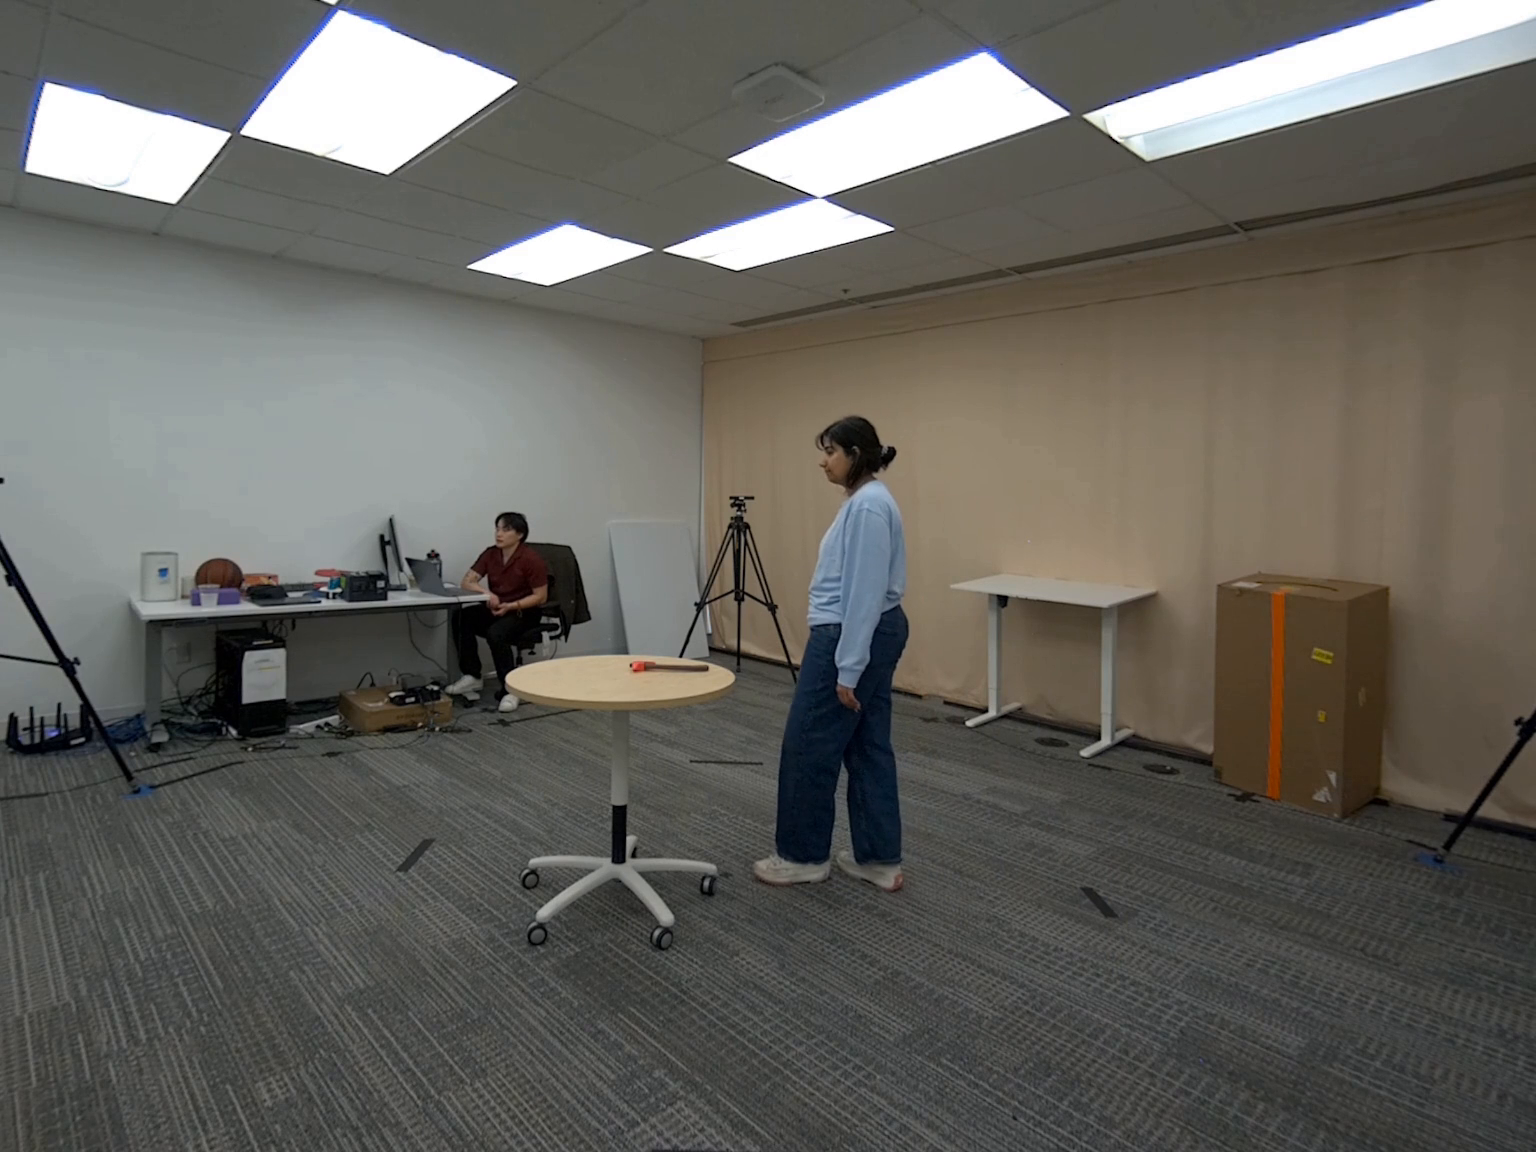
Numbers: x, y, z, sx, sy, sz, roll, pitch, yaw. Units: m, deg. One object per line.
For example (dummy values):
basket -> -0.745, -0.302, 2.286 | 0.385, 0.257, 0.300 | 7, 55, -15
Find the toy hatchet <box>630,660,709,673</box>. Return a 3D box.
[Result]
toy hatchet -> -0.361, 0.319, 2.972 | 0.267, 0.029, 0.132 | 2, 1, -14
